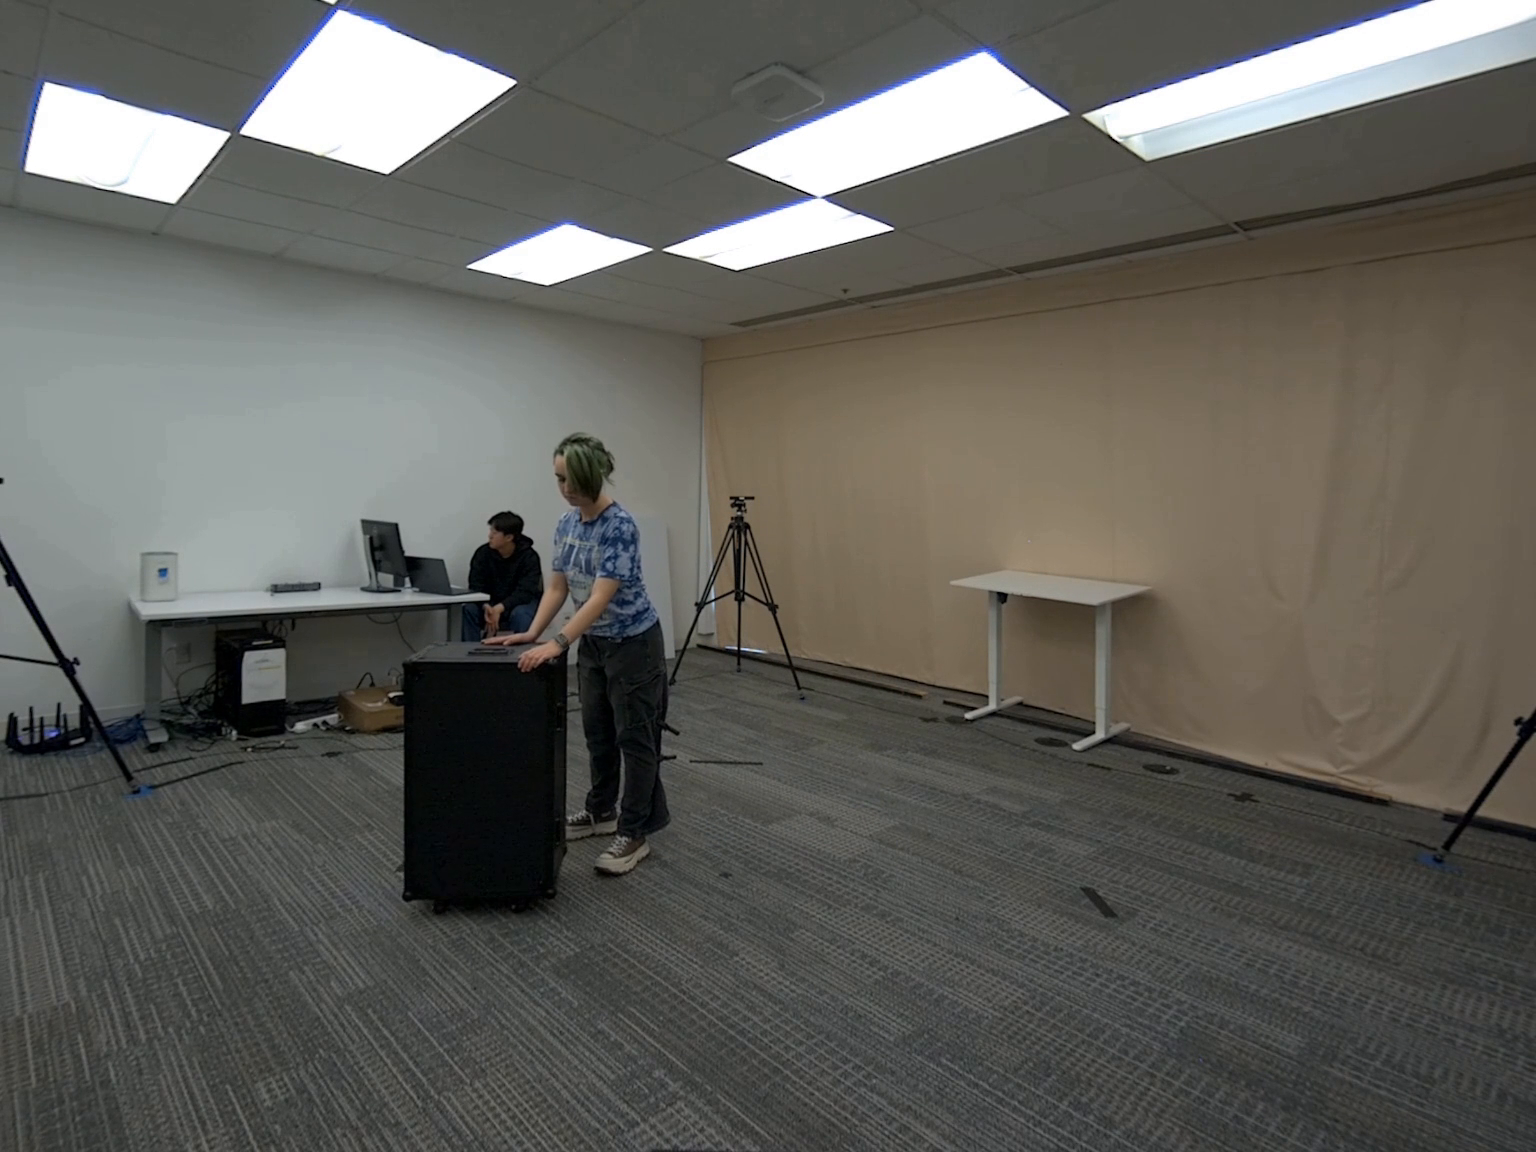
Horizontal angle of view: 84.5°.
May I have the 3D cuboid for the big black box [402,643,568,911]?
[{"bbox_3d":[-0.966,0.683,2.891,0.519,0.859,0.398,0,3,-5],"label":"big black box"}]
